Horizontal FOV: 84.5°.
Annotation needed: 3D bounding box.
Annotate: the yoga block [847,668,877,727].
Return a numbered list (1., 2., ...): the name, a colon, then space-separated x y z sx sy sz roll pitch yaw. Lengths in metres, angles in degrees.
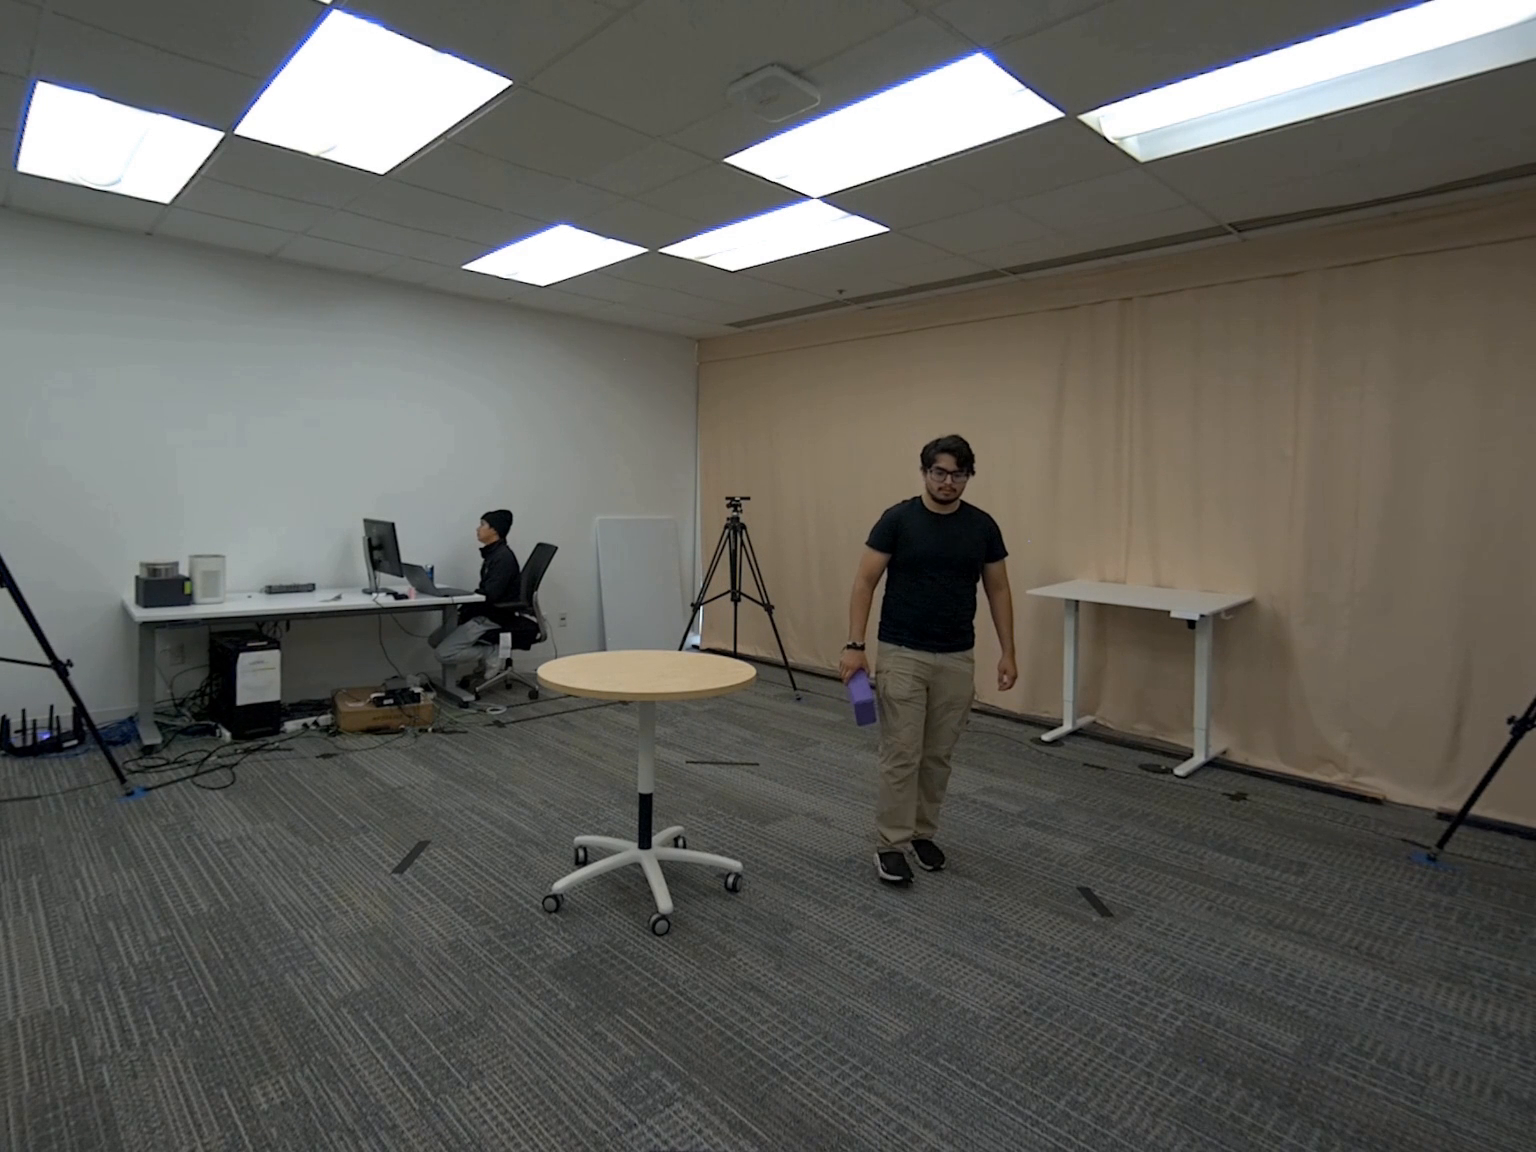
1. yoga block: 0.340 0.435 3.192 0.076 0.145 0.235 -13 42 0
